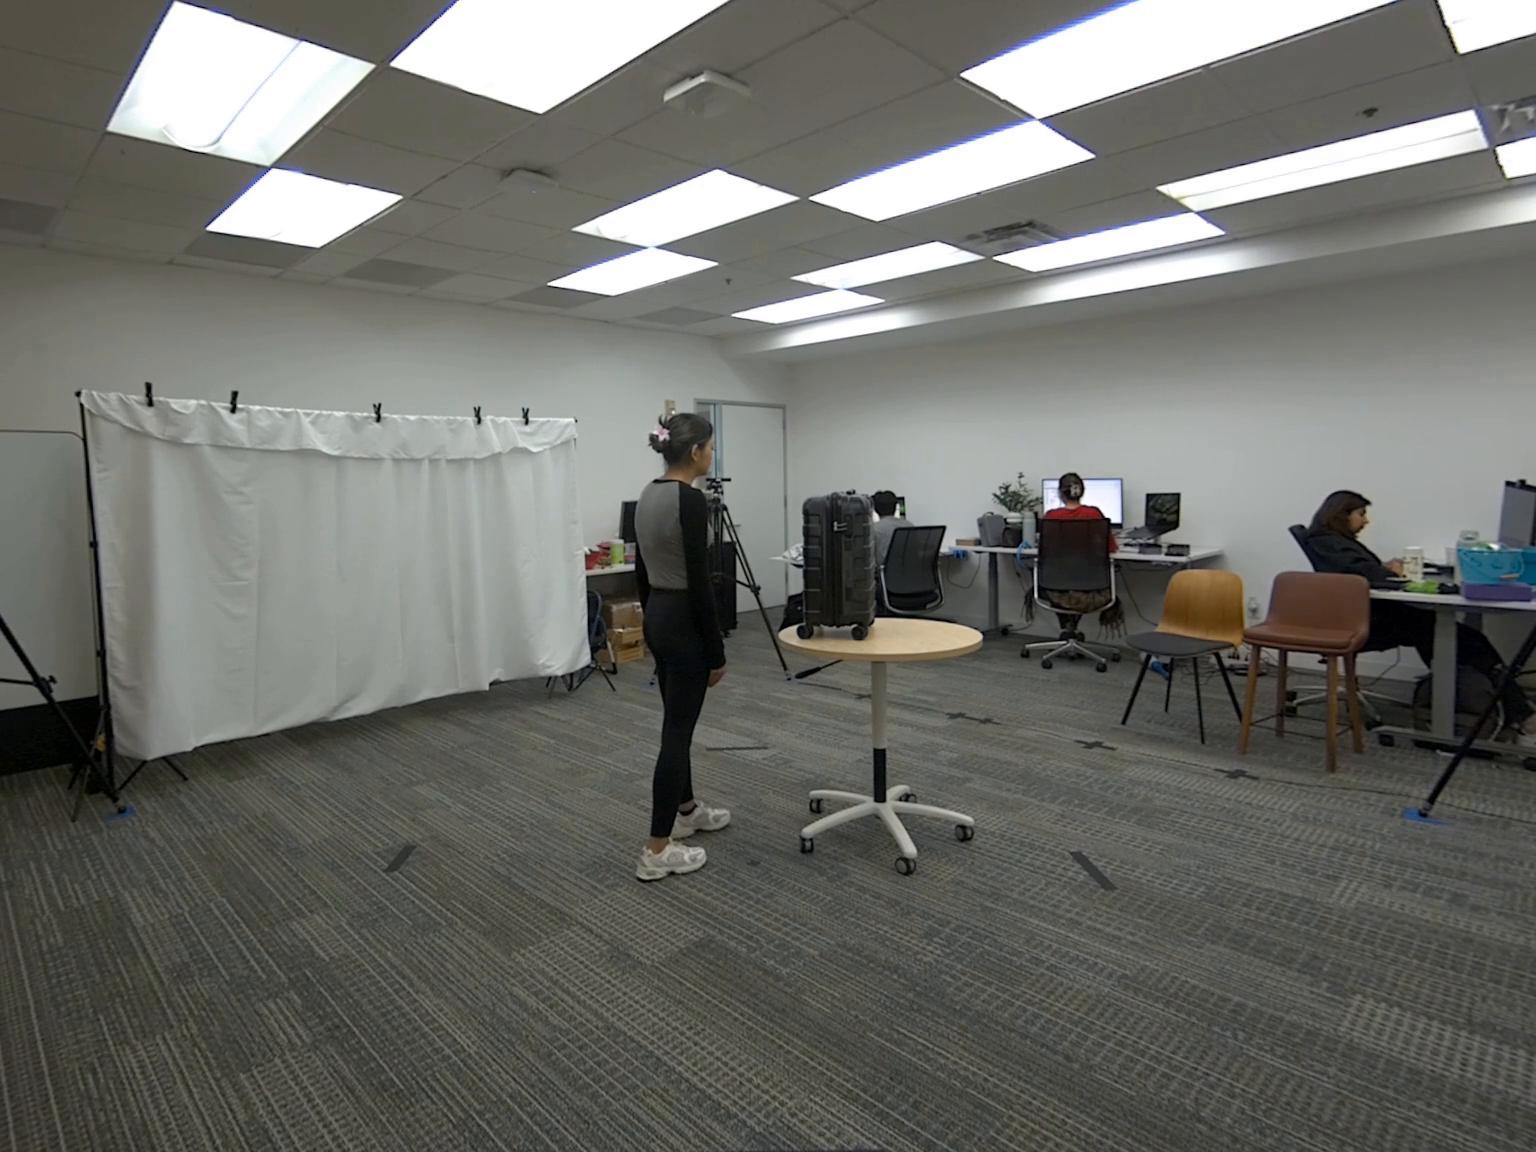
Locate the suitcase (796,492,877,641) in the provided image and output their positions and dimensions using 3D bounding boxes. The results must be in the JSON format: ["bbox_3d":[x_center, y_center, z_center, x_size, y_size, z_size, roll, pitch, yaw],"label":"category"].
[{"bbox_3d":[0.272,-0.057,3.296,0.251,0.547,0.372,0,5,12],"label":"suitcase"}]
